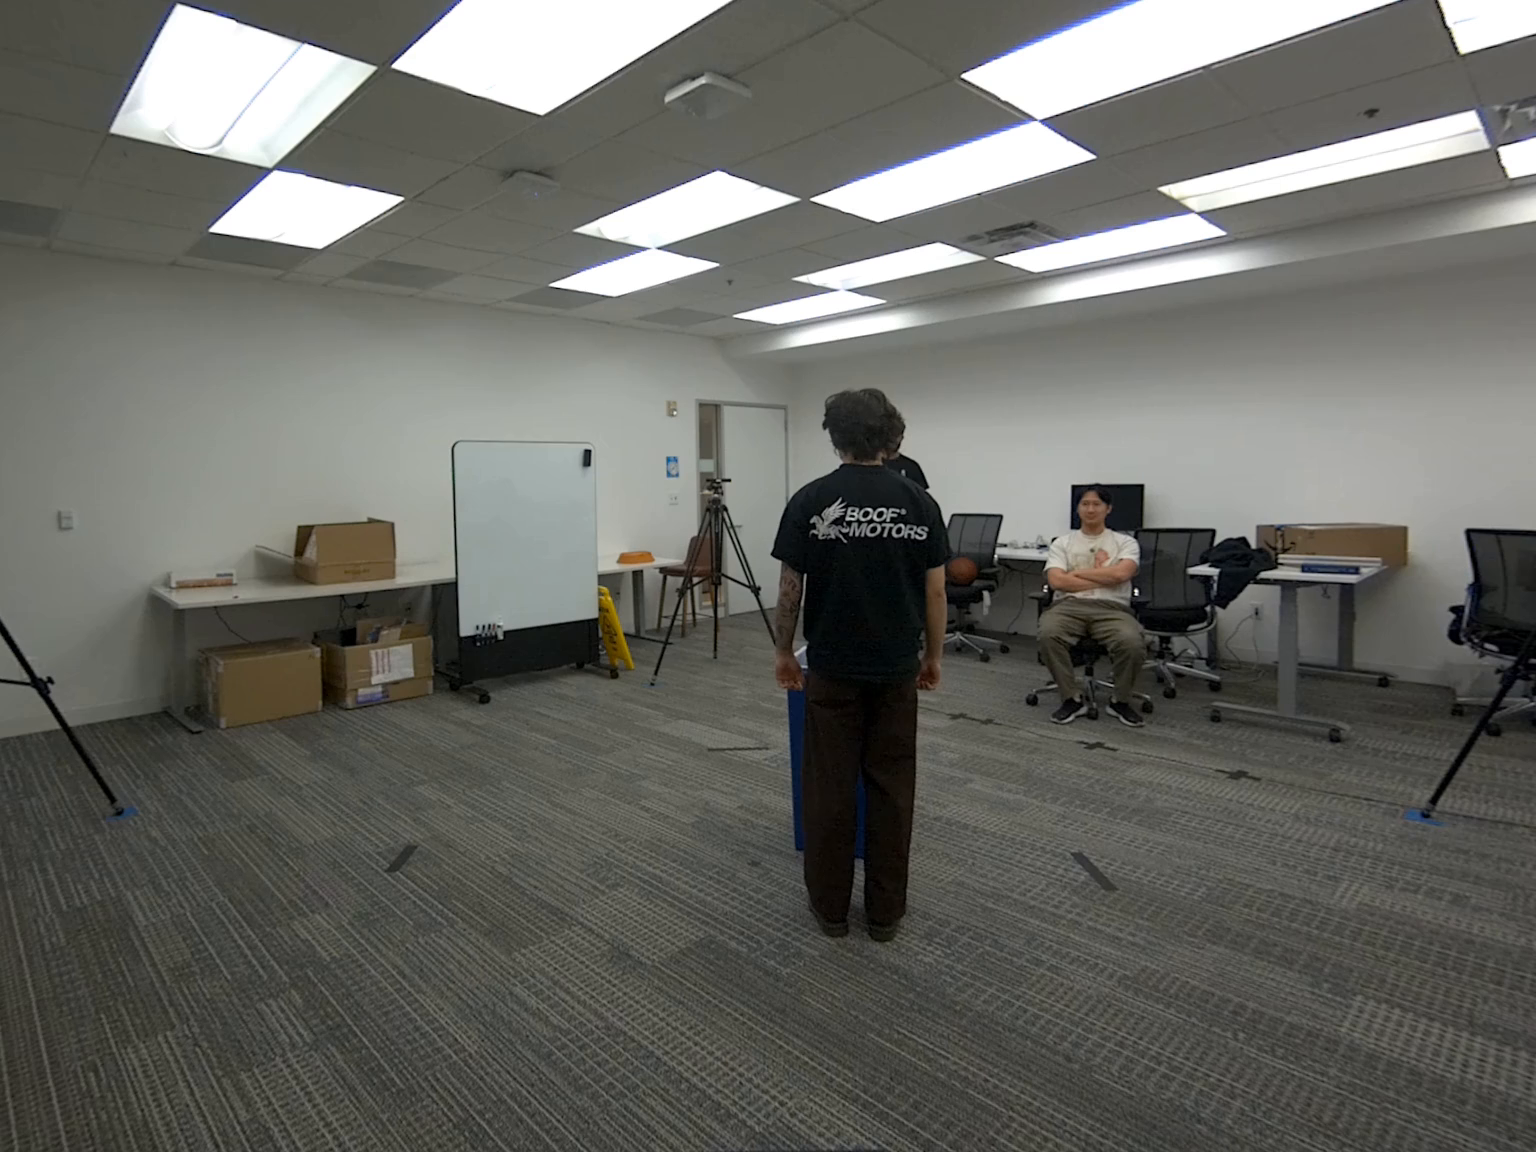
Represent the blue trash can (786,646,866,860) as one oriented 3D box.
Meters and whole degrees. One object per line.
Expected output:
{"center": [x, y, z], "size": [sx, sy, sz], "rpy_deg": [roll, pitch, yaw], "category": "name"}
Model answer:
{"center": [0.288, 0.662, 3.267], "size": [0.385, 0.711, 0.368], "rpy_deg": [1, 4, 19], "category": "blue trash can"}
